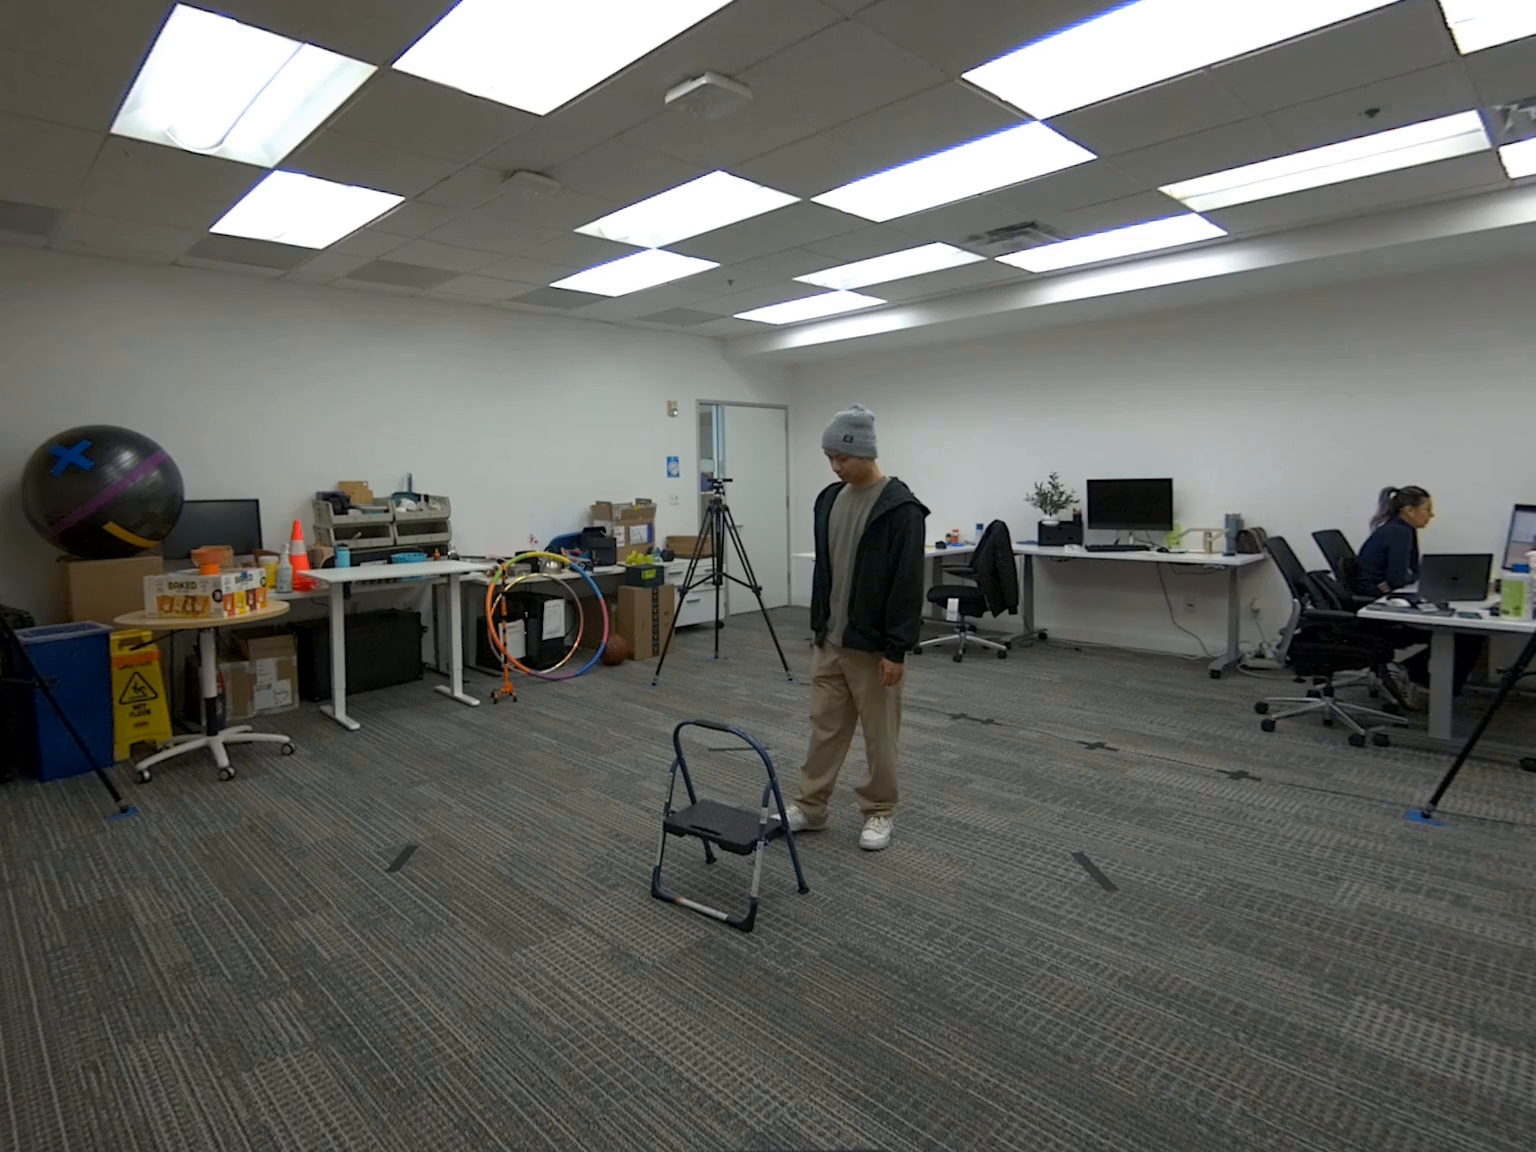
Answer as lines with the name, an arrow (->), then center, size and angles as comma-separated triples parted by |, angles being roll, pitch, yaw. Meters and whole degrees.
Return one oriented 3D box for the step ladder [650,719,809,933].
step ladder -> -0.135, 0.770, 2.867 | 0.443, 0.604, 0.341 | 2, 5, 35
